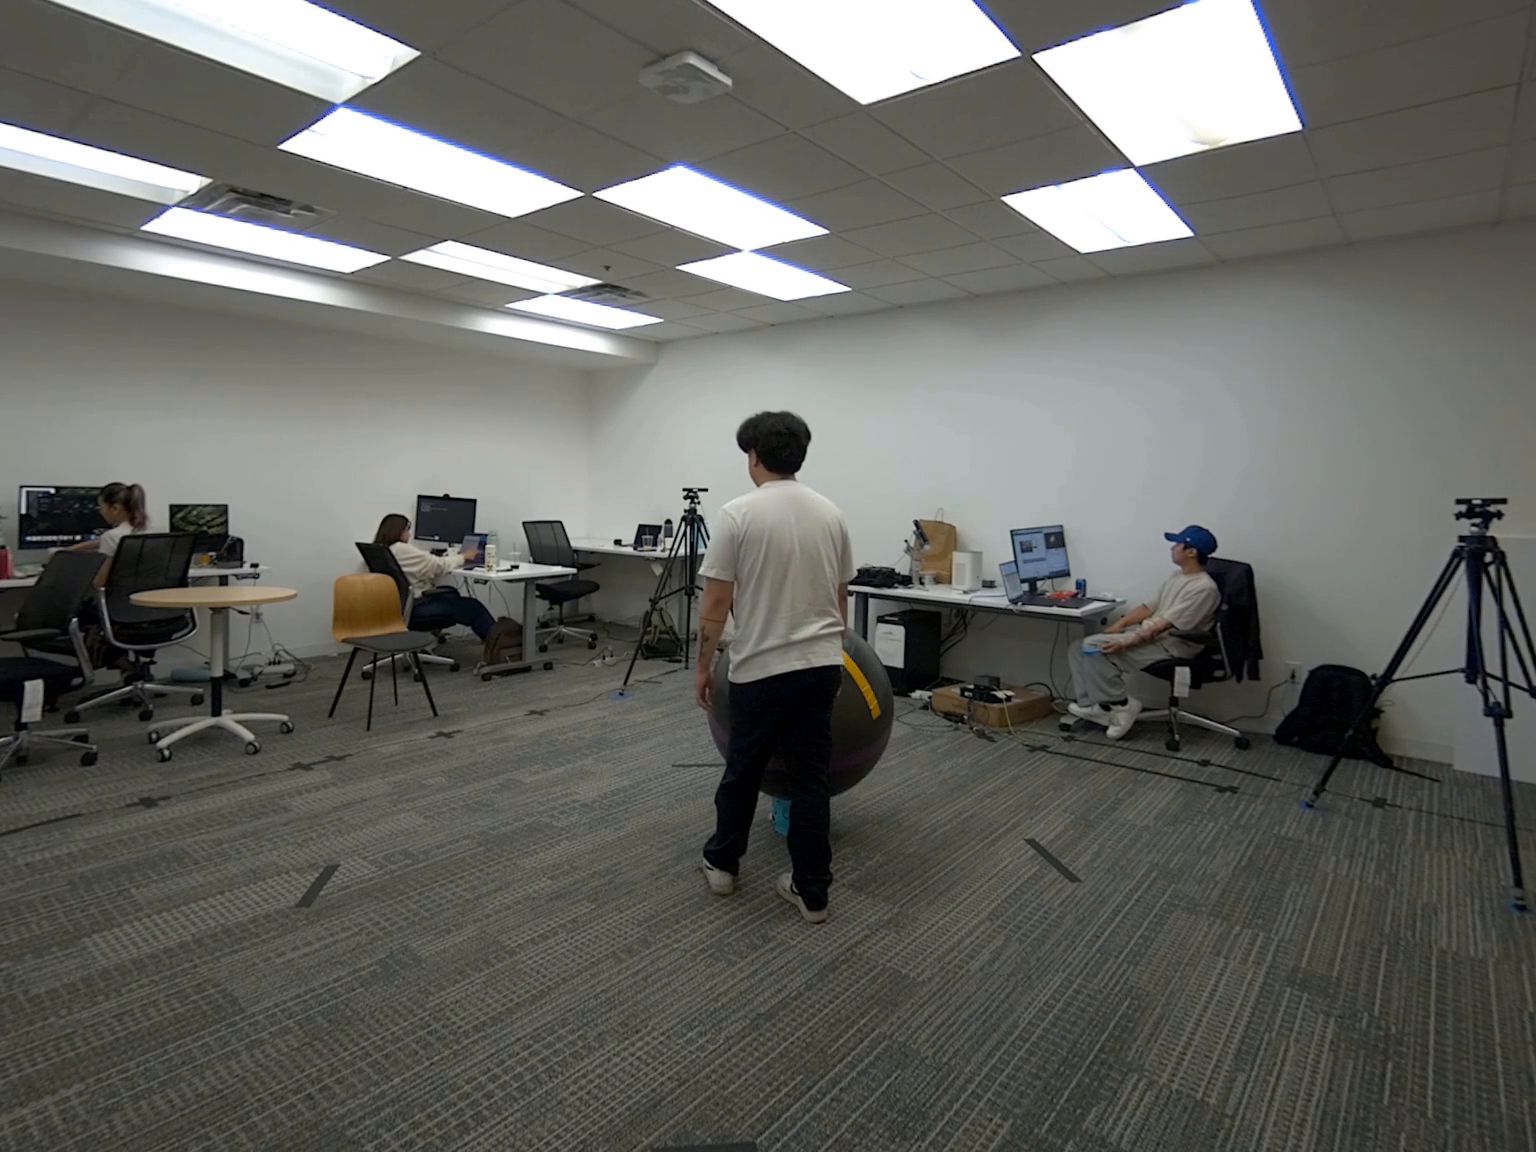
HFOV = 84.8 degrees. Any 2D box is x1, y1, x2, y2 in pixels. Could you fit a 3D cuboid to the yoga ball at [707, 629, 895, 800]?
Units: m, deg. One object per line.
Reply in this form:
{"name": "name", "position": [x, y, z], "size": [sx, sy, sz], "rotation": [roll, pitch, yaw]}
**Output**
{"name": "yoga ball", "position": [0.126, 0.523, 3.480], "size": [0.757, 0.756, 0.761], "rotation": [1, 4, -2]}
